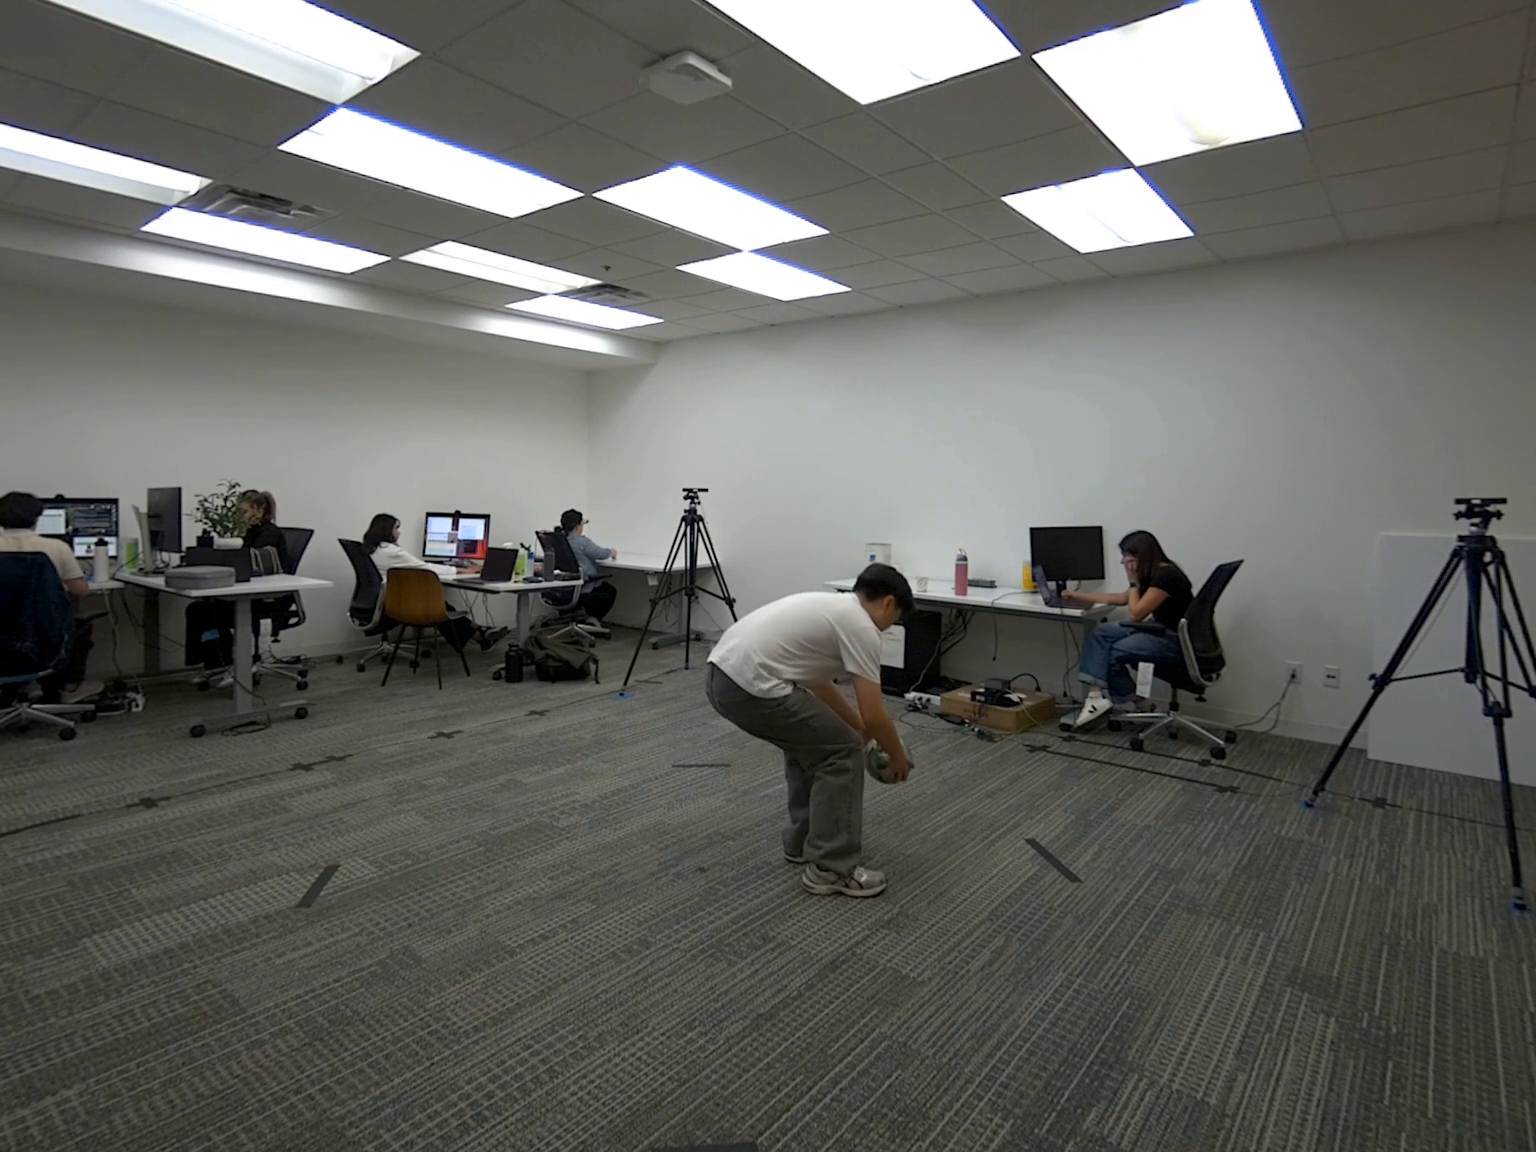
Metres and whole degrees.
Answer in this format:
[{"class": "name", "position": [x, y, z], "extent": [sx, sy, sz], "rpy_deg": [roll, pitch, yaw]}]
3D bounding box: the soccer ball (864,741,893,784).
[{"class": "soccer ball", "position": [0.458, 0.680, 3.283], "extent": [0.187, 0.187, 0.188], "rpy_deg": [1, 4, -2]}]
